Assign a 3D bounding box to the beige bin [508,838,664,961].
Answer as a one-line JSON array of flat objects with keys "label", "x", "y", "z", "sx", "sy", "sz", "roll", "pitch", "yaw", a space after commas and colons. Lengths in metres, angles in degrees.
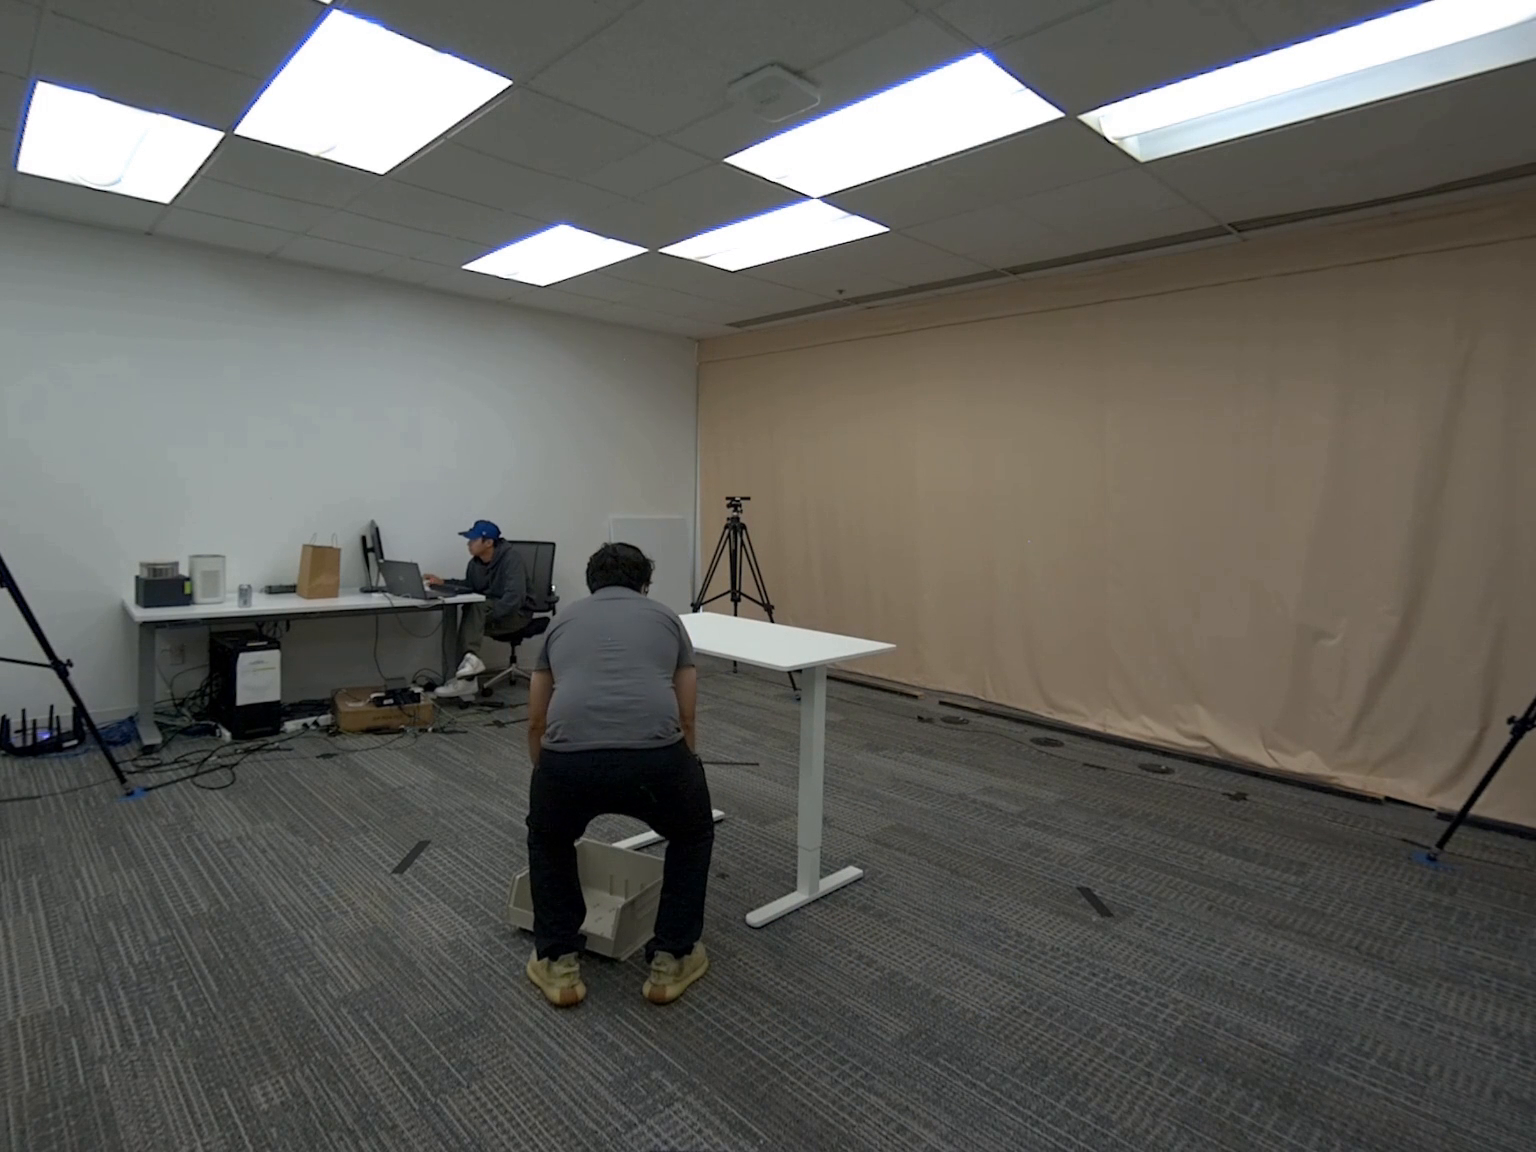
[{"label": "beige bin", "x": -0.565, "y": 1.051, "z": 2.719, "sx": 0.431, "sy": 0.188, "sz": 0.371, "roll": 3, "pitch": 4, "yaw": 26}]
